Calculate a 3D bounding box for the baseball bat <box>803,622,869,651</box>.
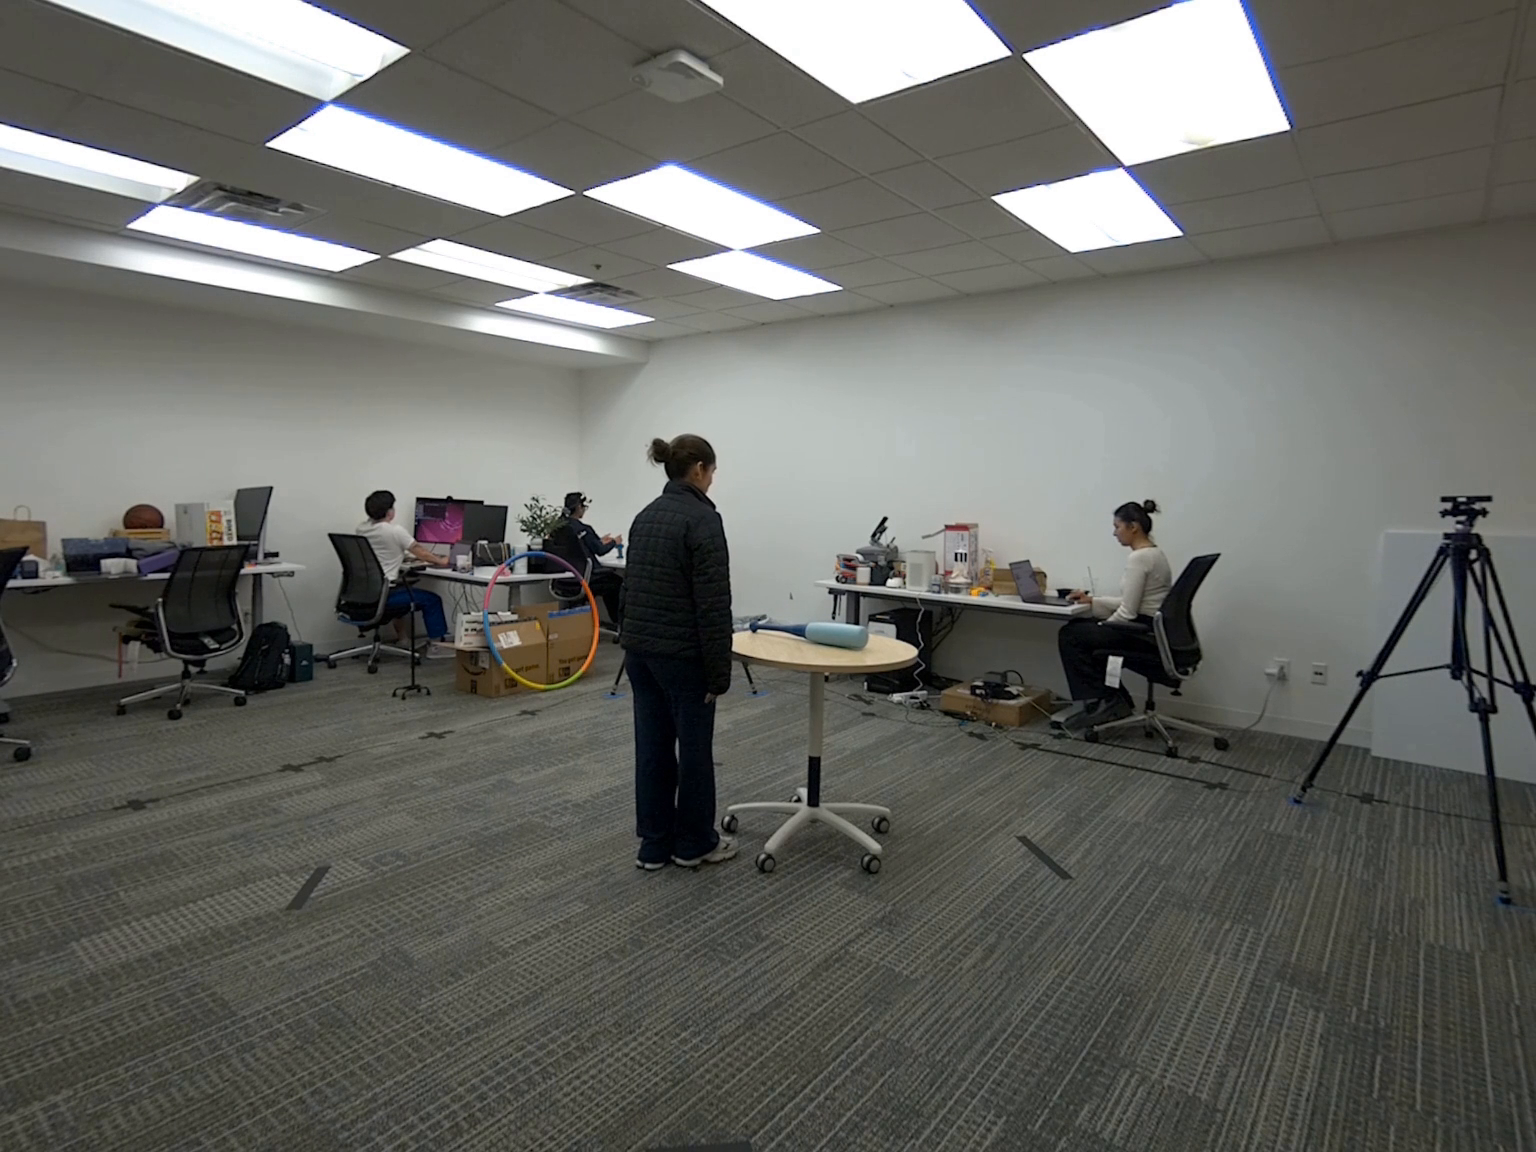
[{"bbox_3d":[0.165,0.222,3.425,0.561,0.089,0.086,3,5,38],"label":"baseball bat"}]
